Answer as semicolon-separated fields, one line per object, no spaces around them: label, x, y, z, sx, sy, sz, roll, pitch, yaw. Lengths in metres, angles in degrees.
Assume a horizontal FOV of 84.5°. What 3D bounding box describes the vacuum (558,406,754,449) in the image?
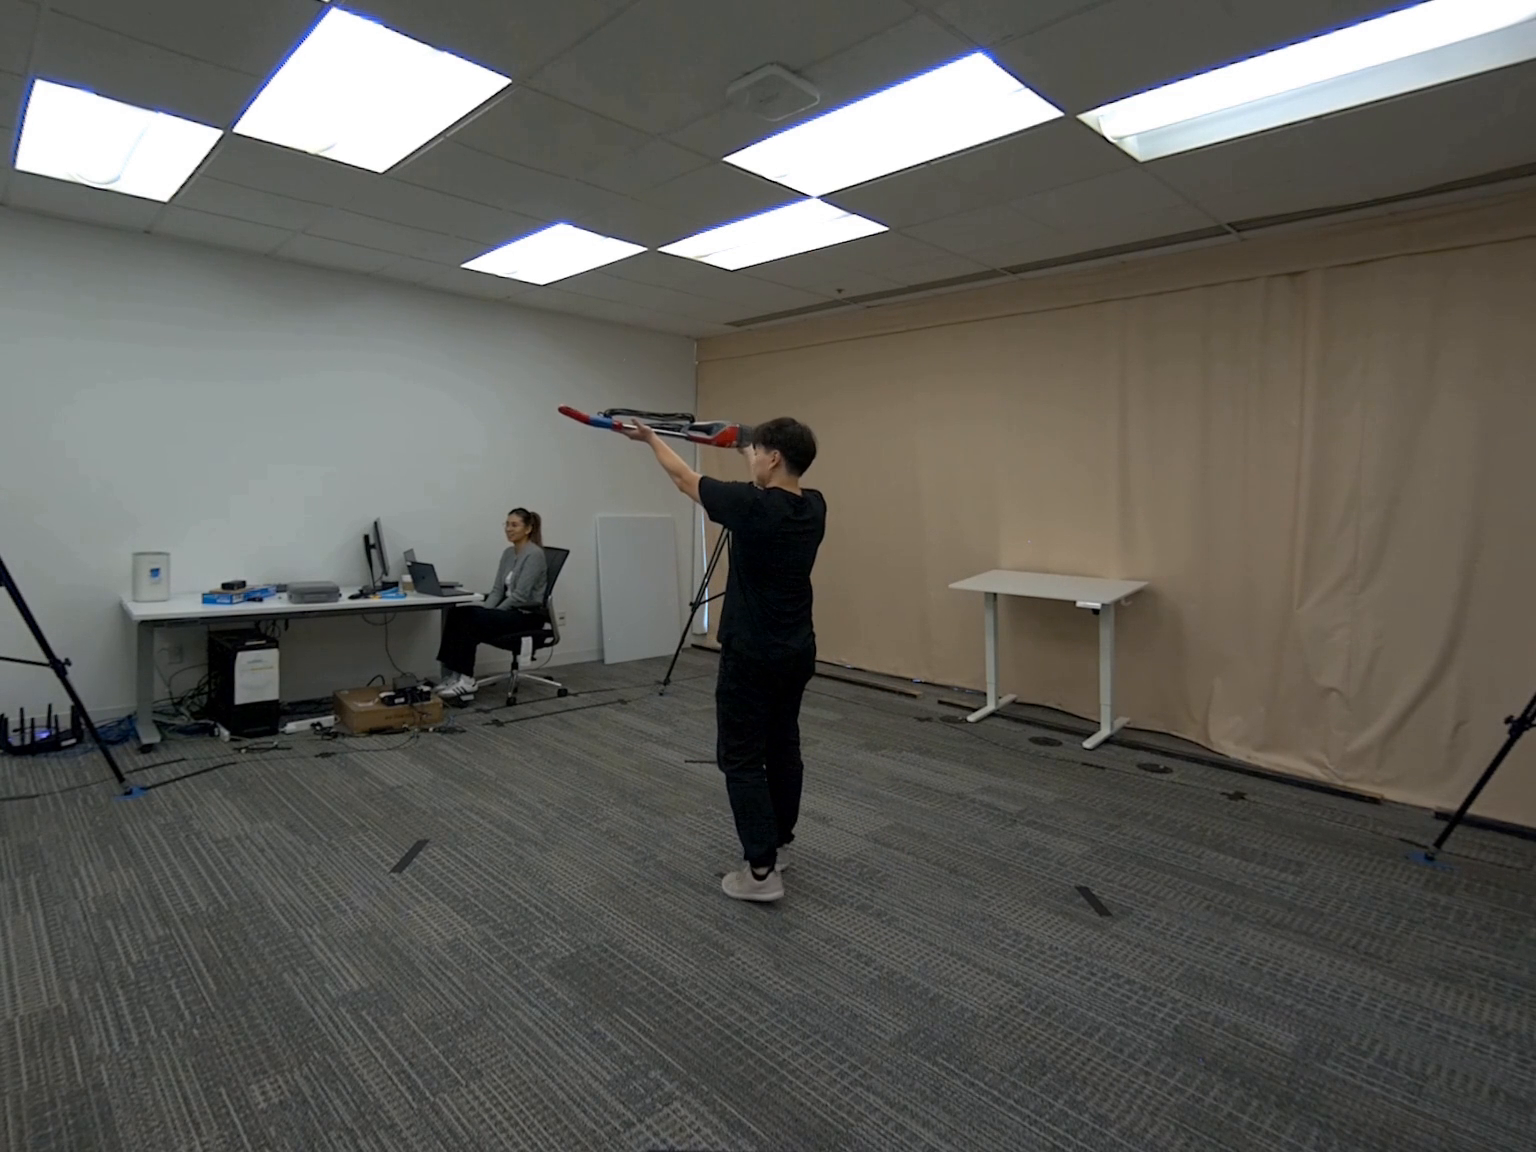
vacuum;-0.354;-0.581;3.303;1.023;0.147;0.252;3;-38;-42
